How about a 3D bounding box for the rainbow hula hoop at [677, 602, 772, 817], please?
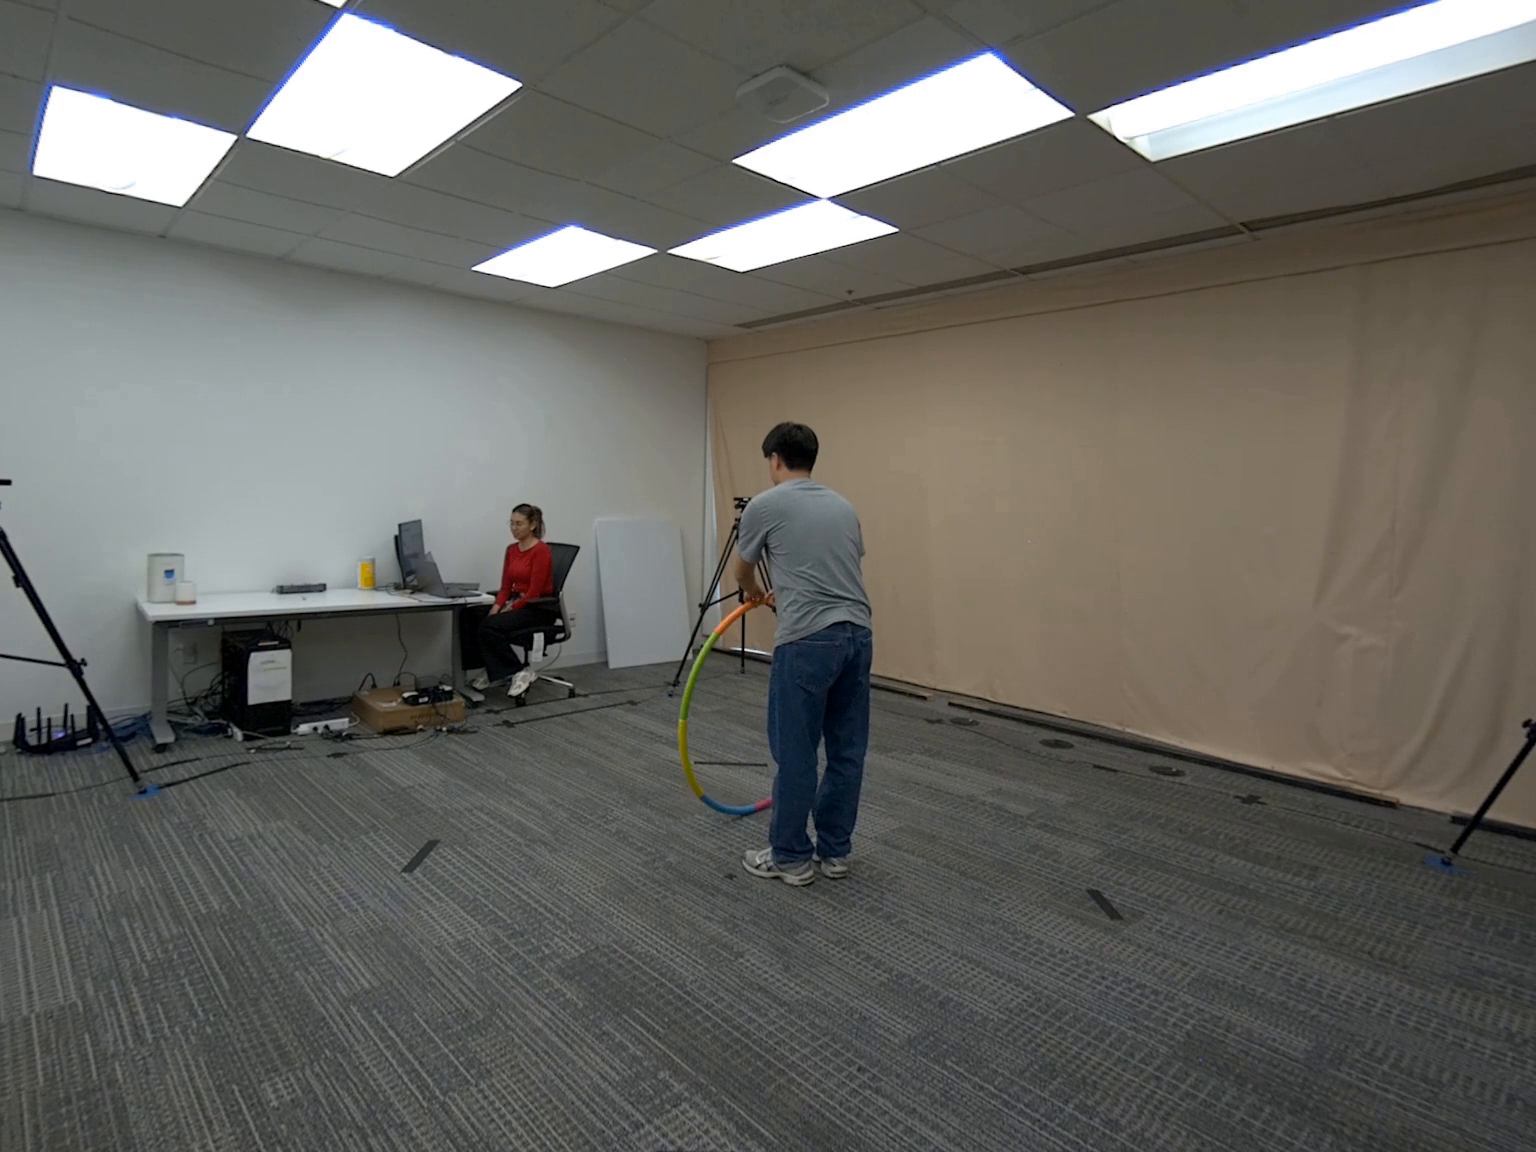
[{"bbox_3d":[-0.040,0.569,3.731,0.036,0.974,0.956,10,9,42],"label":"rainbow hula hoop"}]
